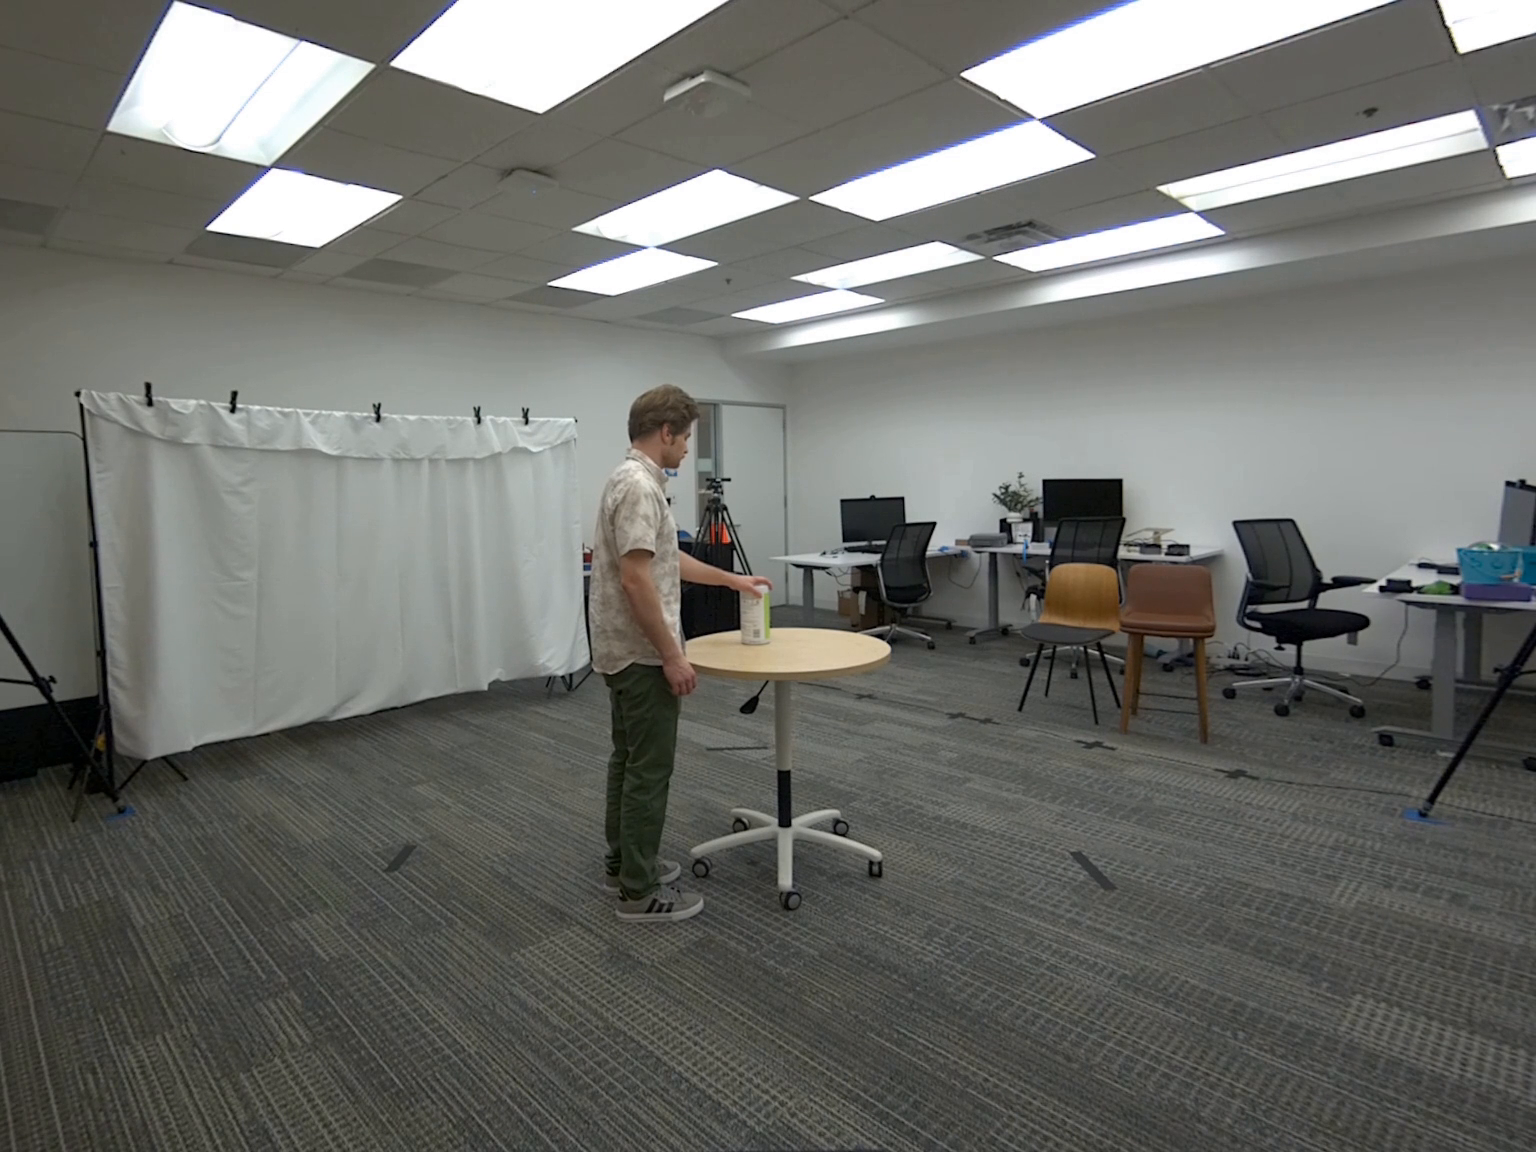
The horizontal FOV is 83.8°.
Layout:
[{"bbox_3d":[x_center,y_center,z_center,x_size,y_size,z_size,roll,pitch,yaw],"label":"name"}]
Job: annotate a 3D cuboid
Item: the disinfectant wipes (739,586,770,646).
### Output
[{"bbox_3d":[-0.046,0.140,3.147,0.118,0.217,0.118,-2,2,-2],"label":"disinfectant wipes"}]
